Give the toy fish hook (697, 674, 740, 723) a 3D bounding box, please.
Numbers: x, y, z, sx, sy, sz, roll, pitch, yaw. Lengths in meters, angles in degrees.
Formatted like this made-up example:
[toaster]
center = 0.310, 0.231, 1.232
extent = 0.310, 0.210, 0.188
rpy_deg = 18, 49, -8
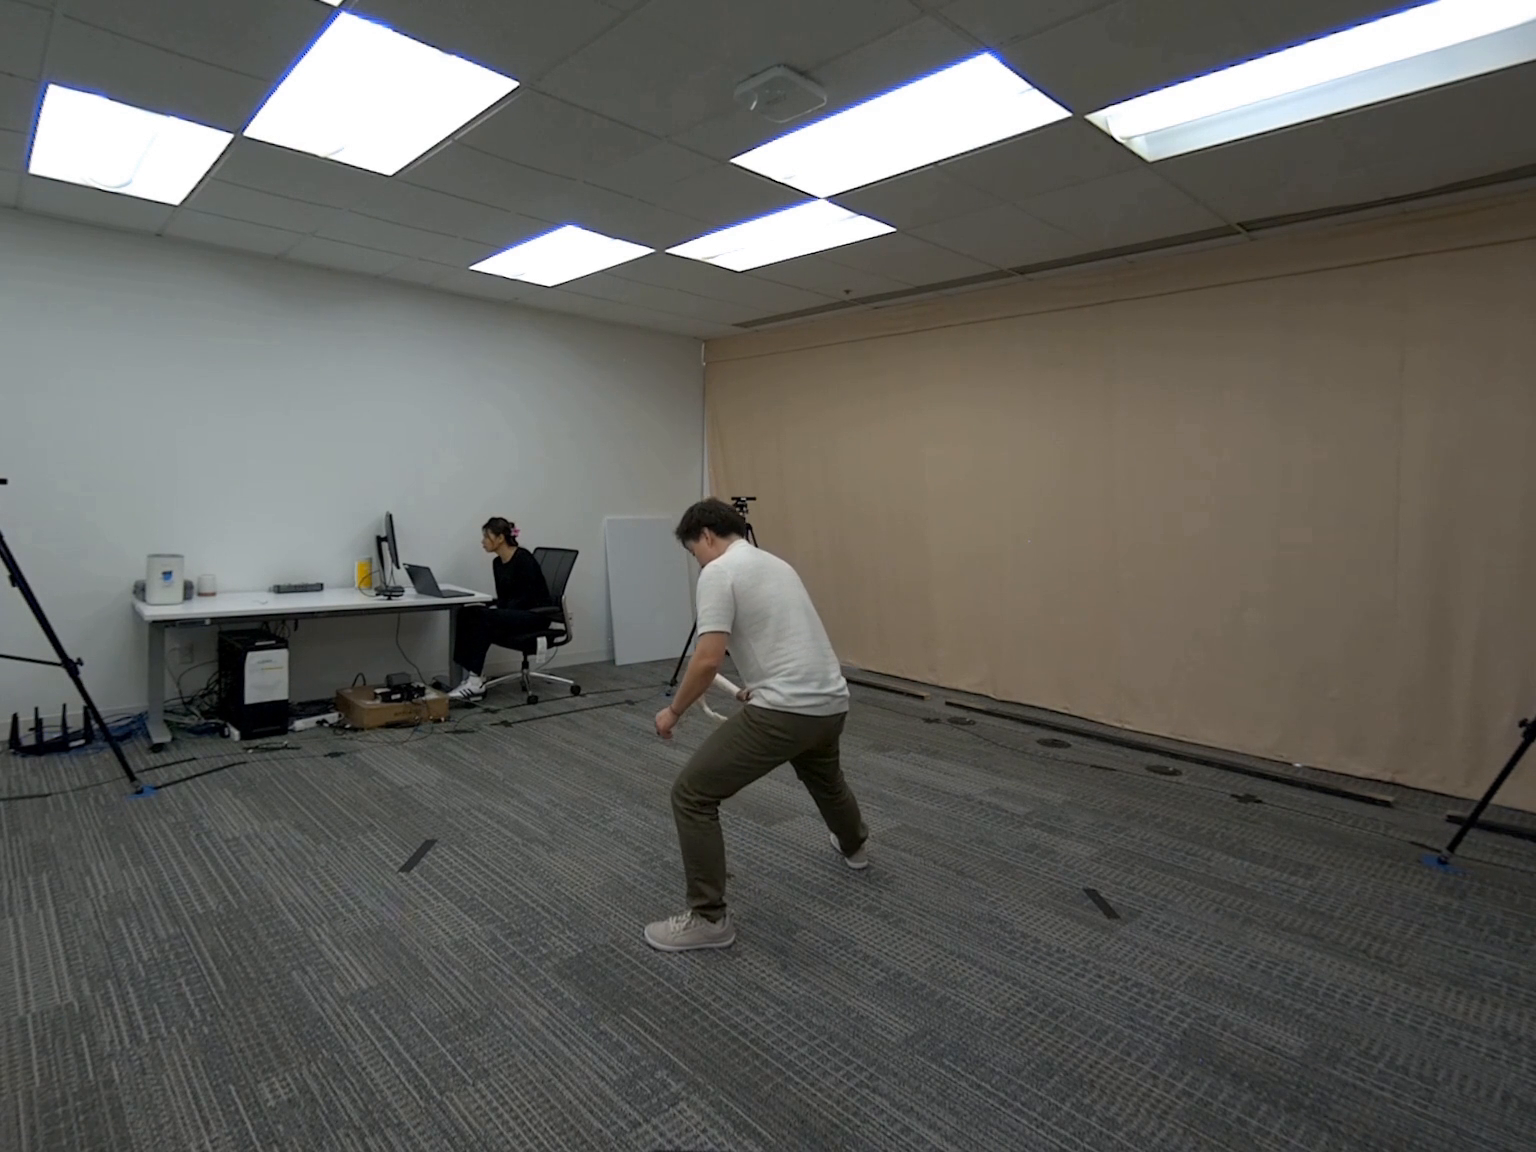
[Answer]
[toy fish hook]
center = -0.145, 0.498, 3.265
extent = 0.048, 0.221, 0.520
rpy_deg = -23, 21, -36
